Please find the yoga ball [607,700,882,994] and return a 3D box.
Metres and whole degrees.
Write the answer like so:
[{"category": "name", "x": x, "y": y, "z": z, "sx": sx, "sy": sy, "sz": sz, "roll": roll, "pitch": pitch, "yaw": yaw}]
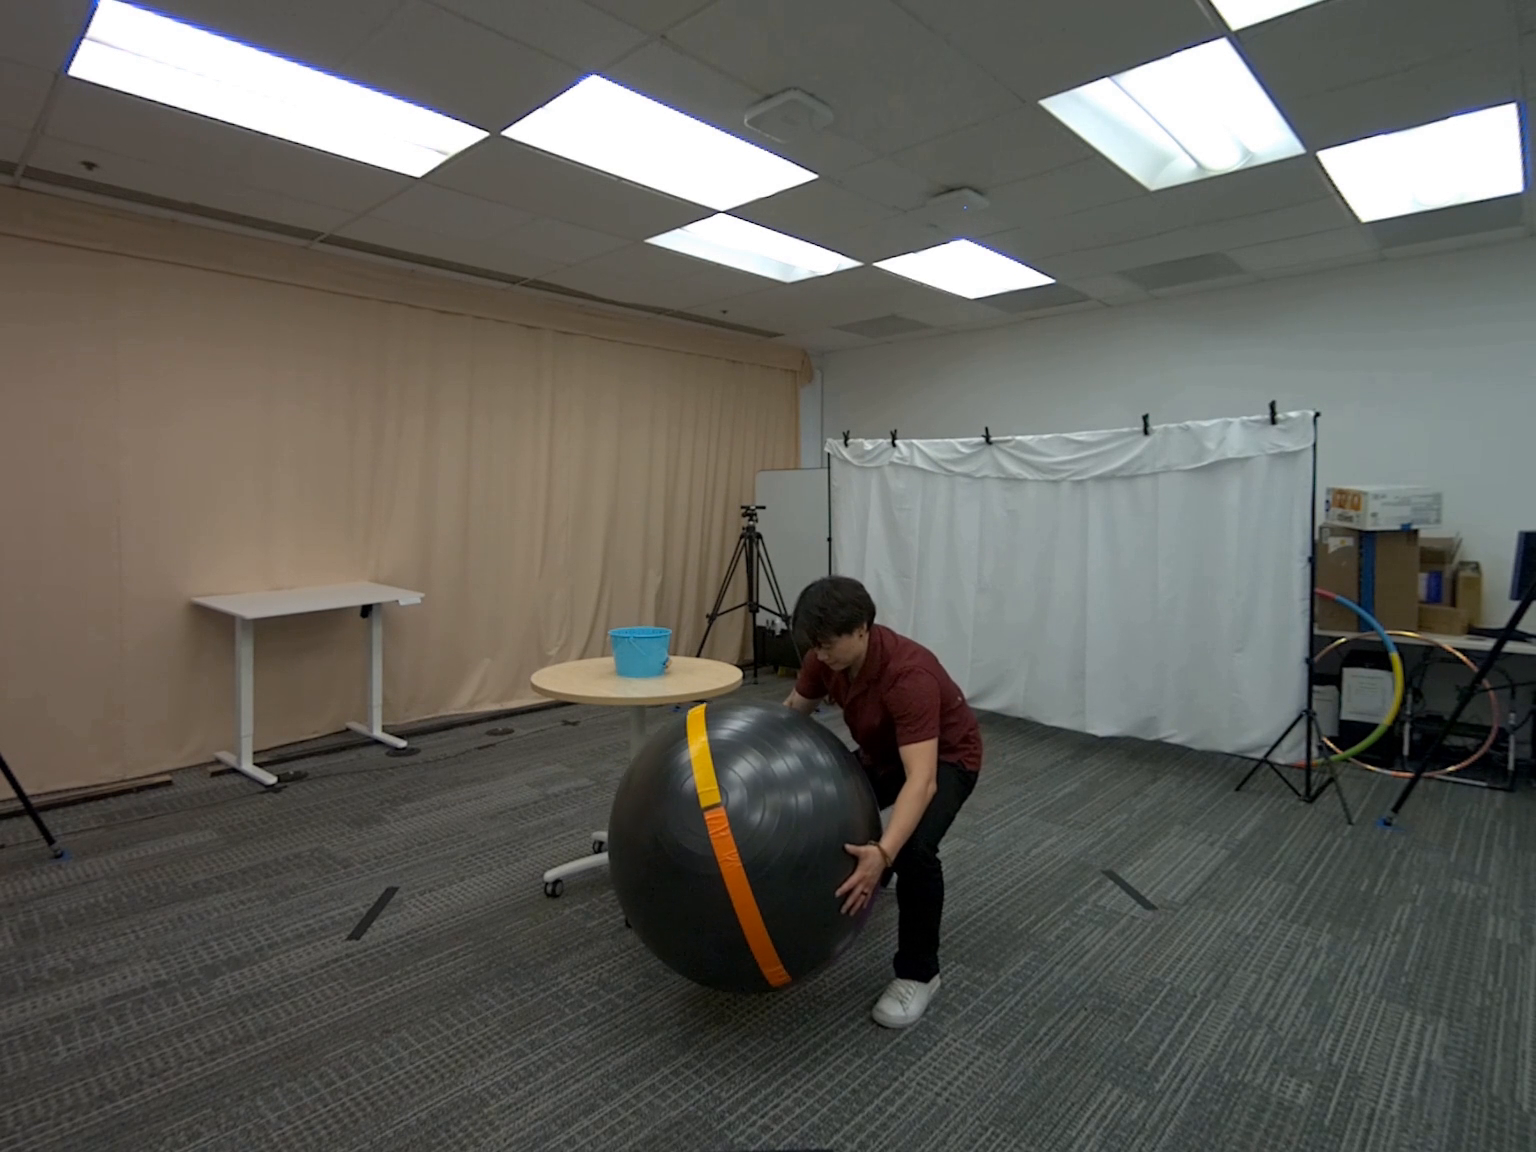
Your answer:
[{"category": "yoga ball", "x": -0.061, "y": 0.741, "z": 2.316, "sx": 0.757, "sy": 0.756, "sz": 0.761, "roll": 0, "pitch": 4, "yaw": -2}]
